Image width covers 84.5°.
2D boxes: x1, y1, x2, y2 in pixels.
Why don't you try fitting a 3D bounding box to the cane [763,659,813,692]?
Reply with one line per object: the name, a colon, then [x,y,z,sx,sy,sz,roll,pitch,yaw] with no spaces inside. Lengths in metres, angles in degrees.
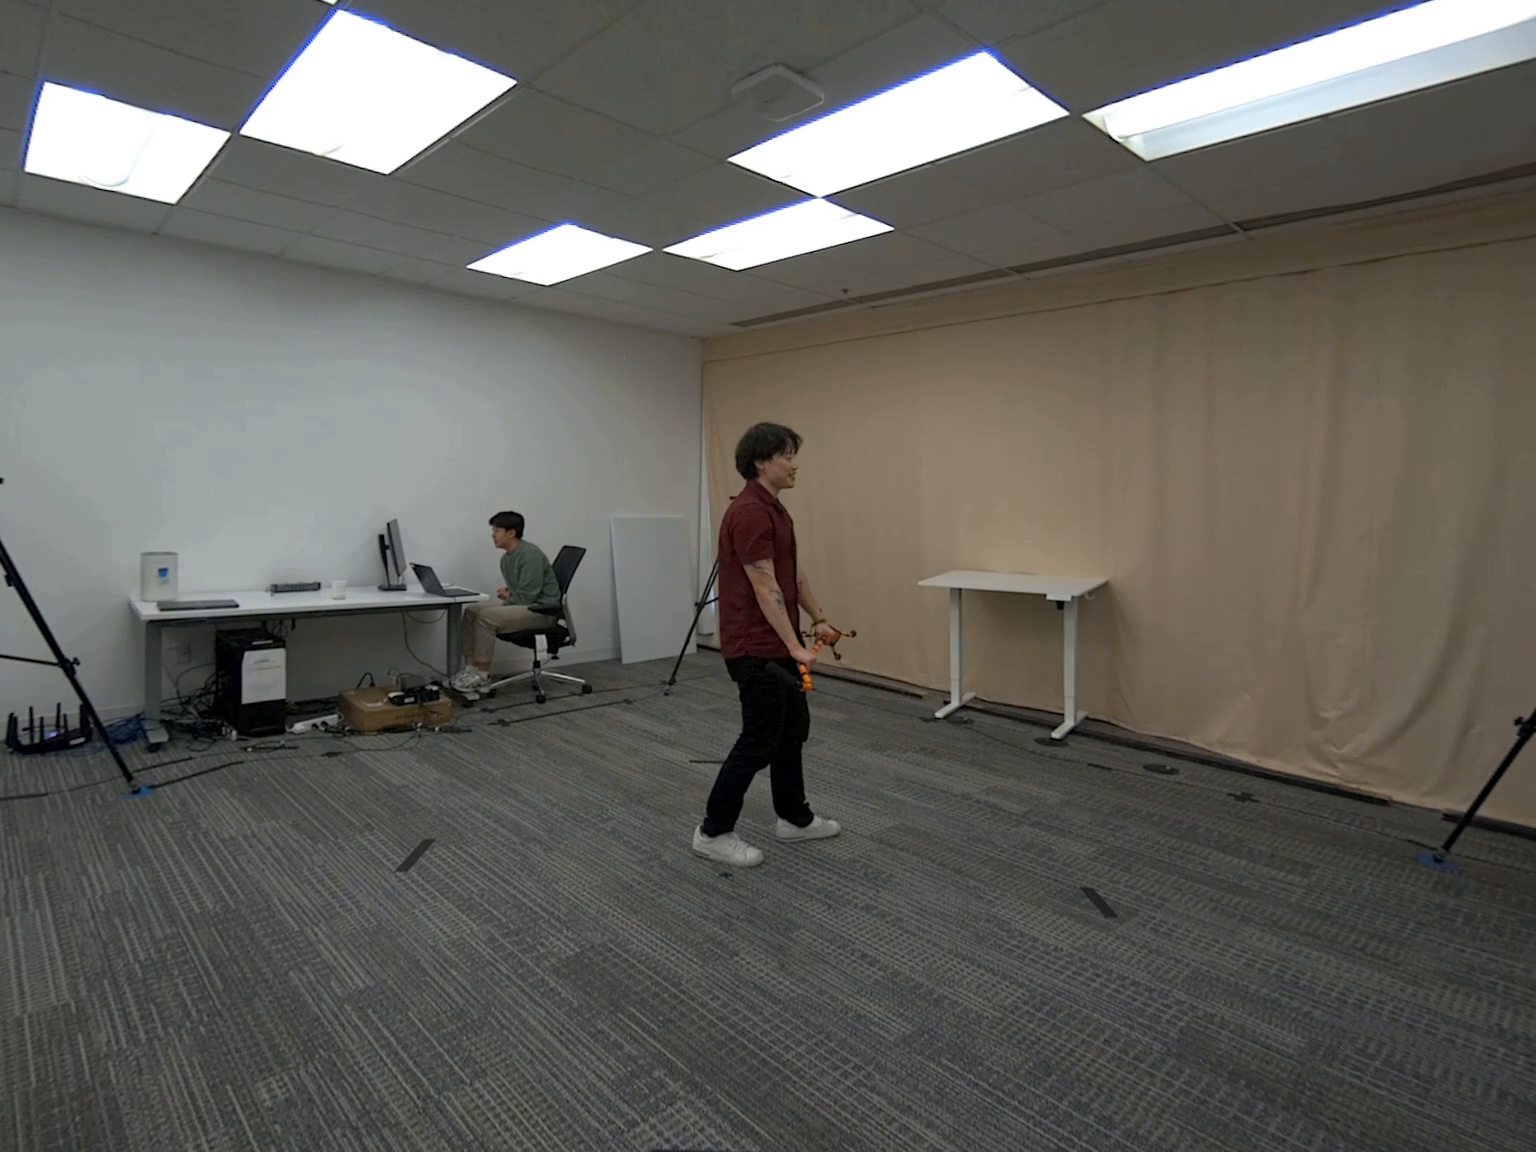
cane: [0.197,0.310,3.198,0.208,0.151,0.901,35,13,7]
